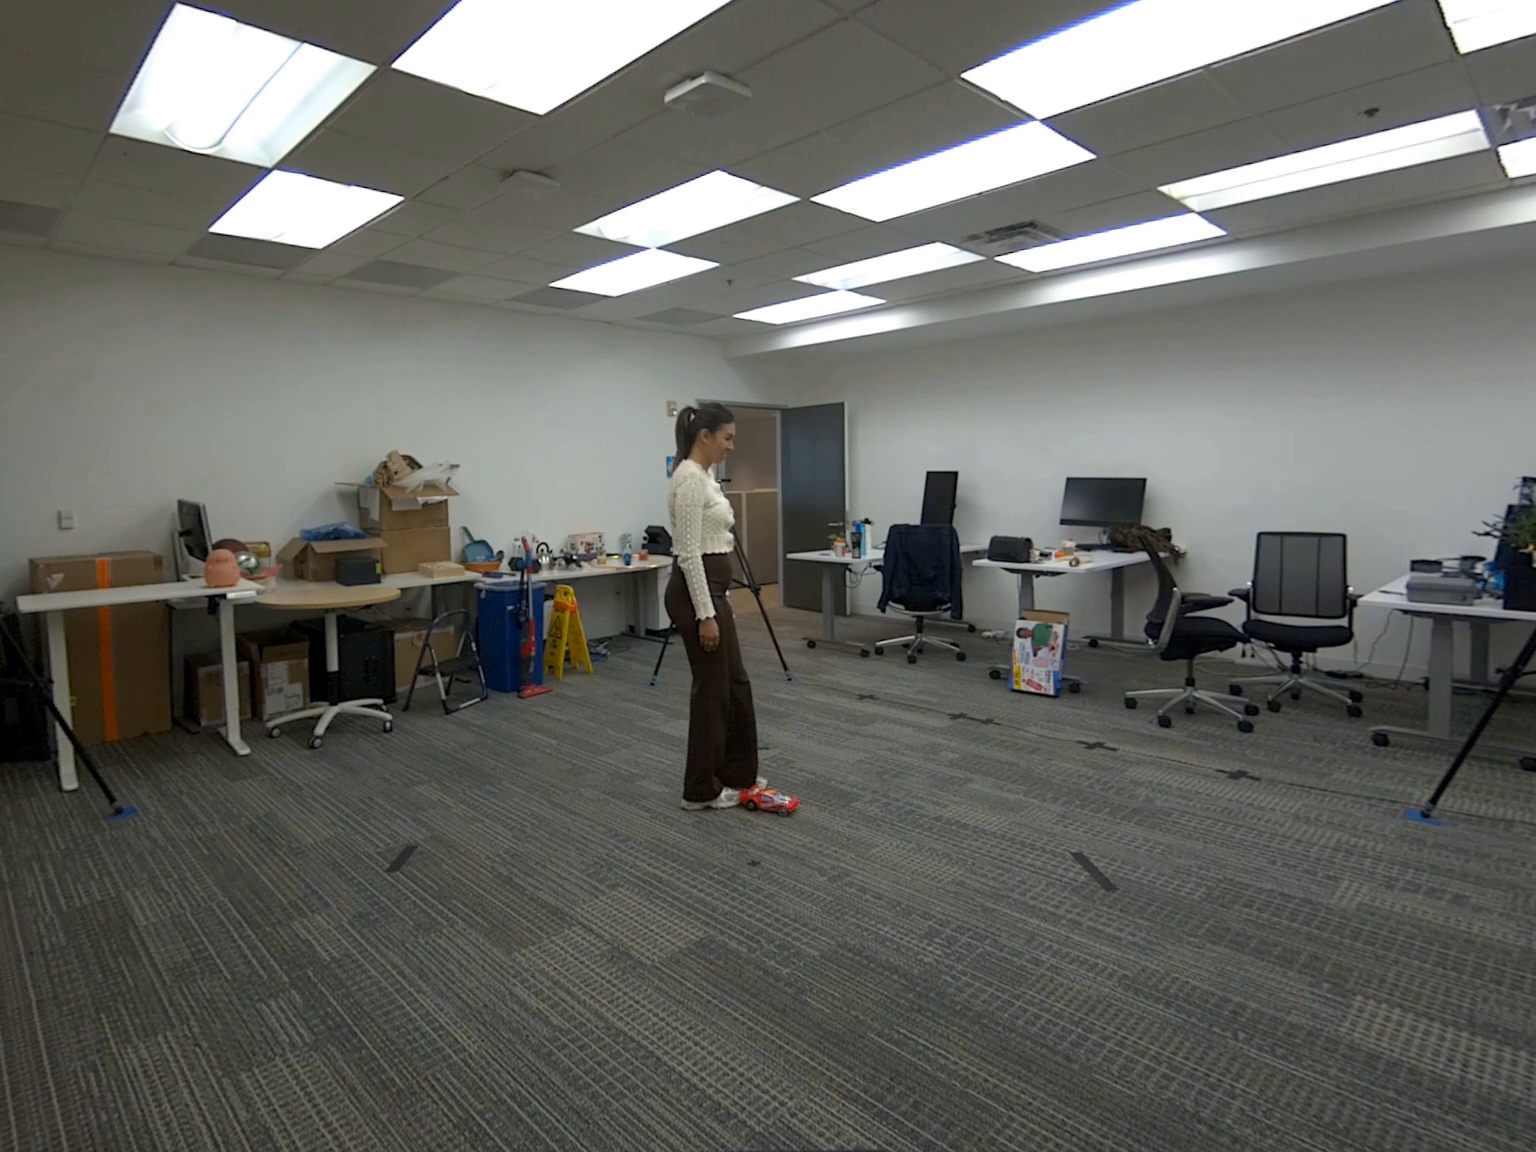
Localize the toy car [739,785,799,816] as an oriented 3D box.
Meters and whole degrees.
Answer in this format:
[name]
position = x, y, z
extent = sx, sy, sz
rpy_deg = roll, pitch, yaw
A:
[toy car]
position = -0.002, 0.953, 3.616
extent = 0.262, 0.082, 0.128
rpy_deg = 13, 12, 26
